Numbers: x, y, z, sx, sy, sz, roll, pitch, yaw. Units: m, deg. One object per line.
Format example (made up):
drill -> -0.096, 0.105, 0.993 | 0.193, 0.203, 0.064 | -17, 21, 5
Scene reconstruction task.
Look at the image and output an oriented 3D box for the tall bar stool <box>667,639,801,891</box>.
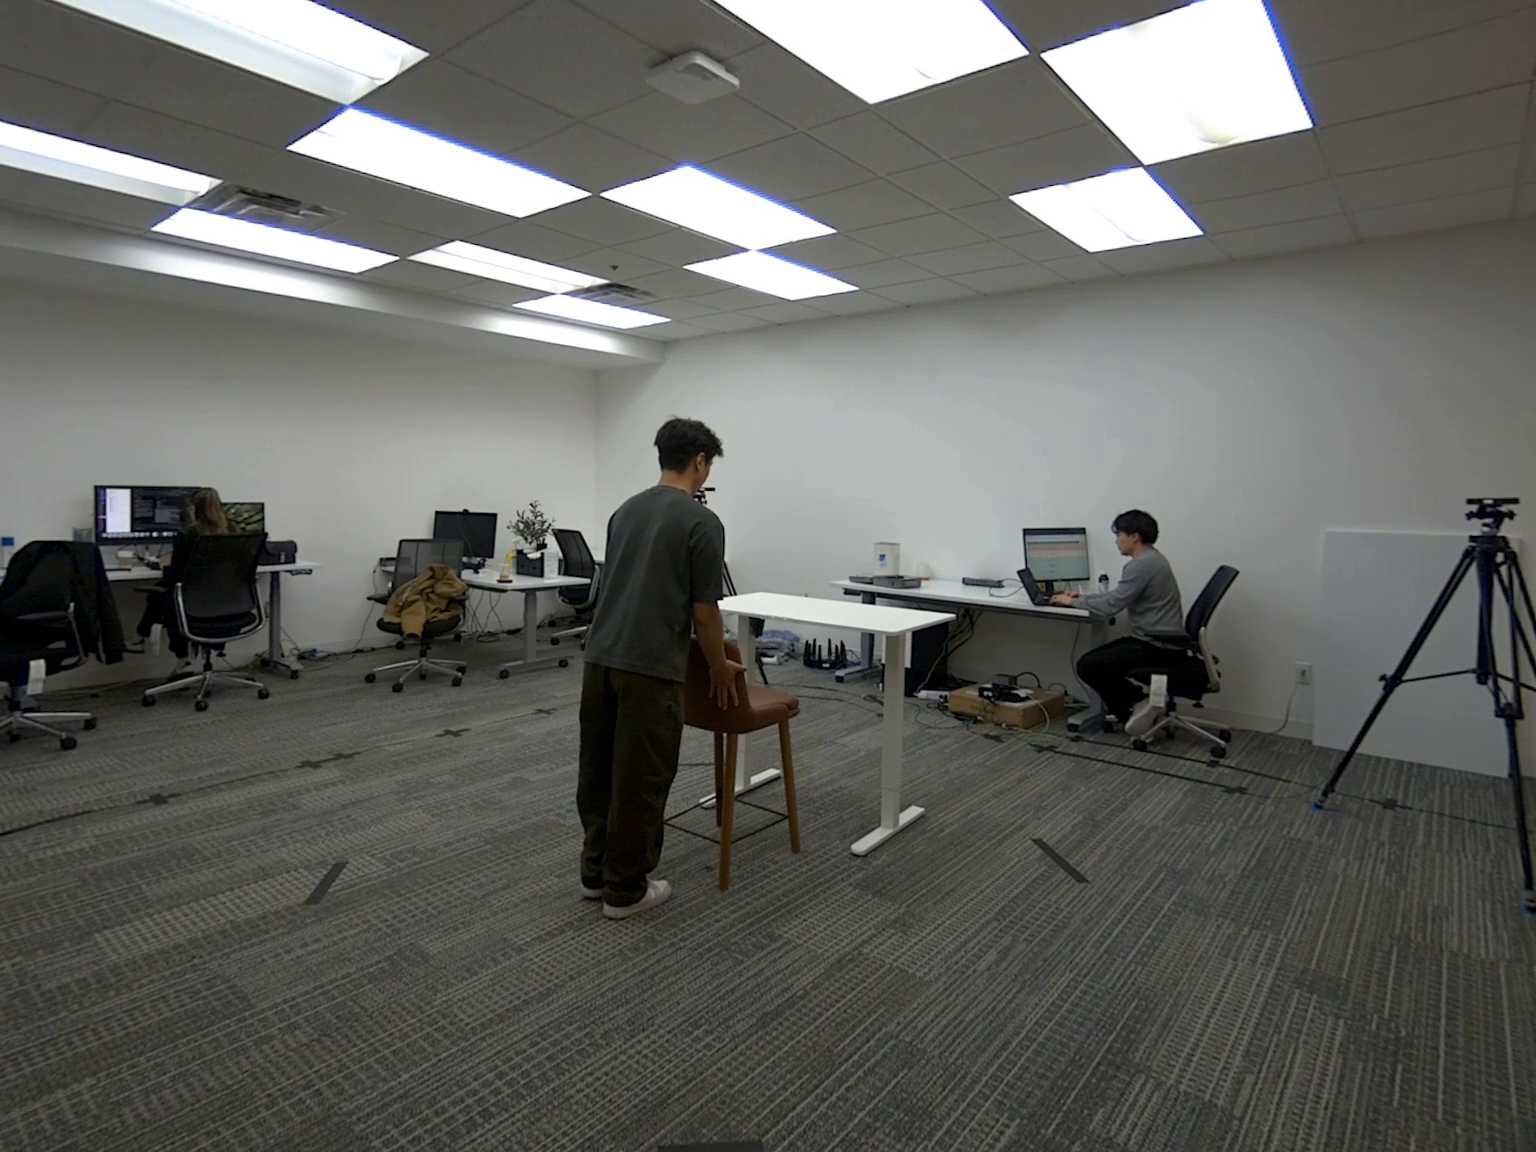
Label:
tall bar stool -> -0.172, 0.618, 3.198 | 0.471, 0.886, 0.455 | 3, 6, 37
